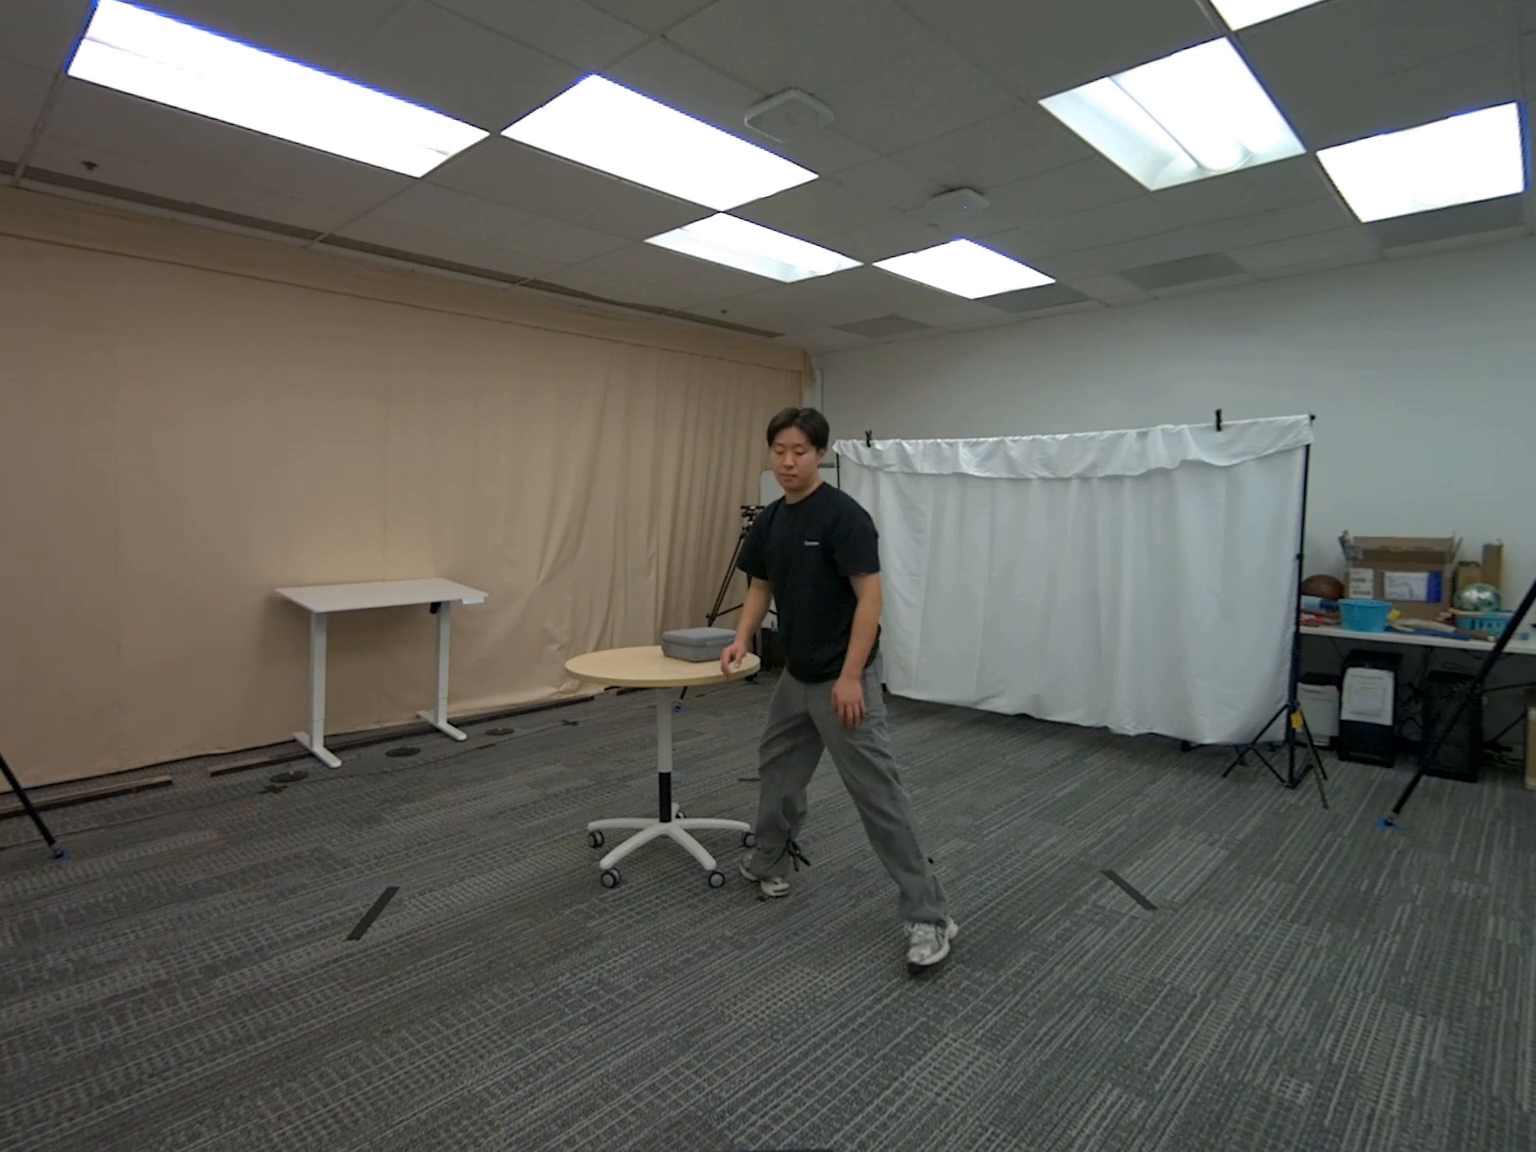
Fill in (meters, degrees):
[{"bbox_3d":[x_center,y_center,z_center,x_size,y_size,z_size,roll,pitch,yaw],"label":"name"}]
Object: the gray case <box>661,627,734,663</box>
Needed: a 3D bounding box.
[{"bbox_3d":[-0.273,0.275,3.432,0.255,0.103,0.296,-4,4,-37],"label":"gray case"}]
